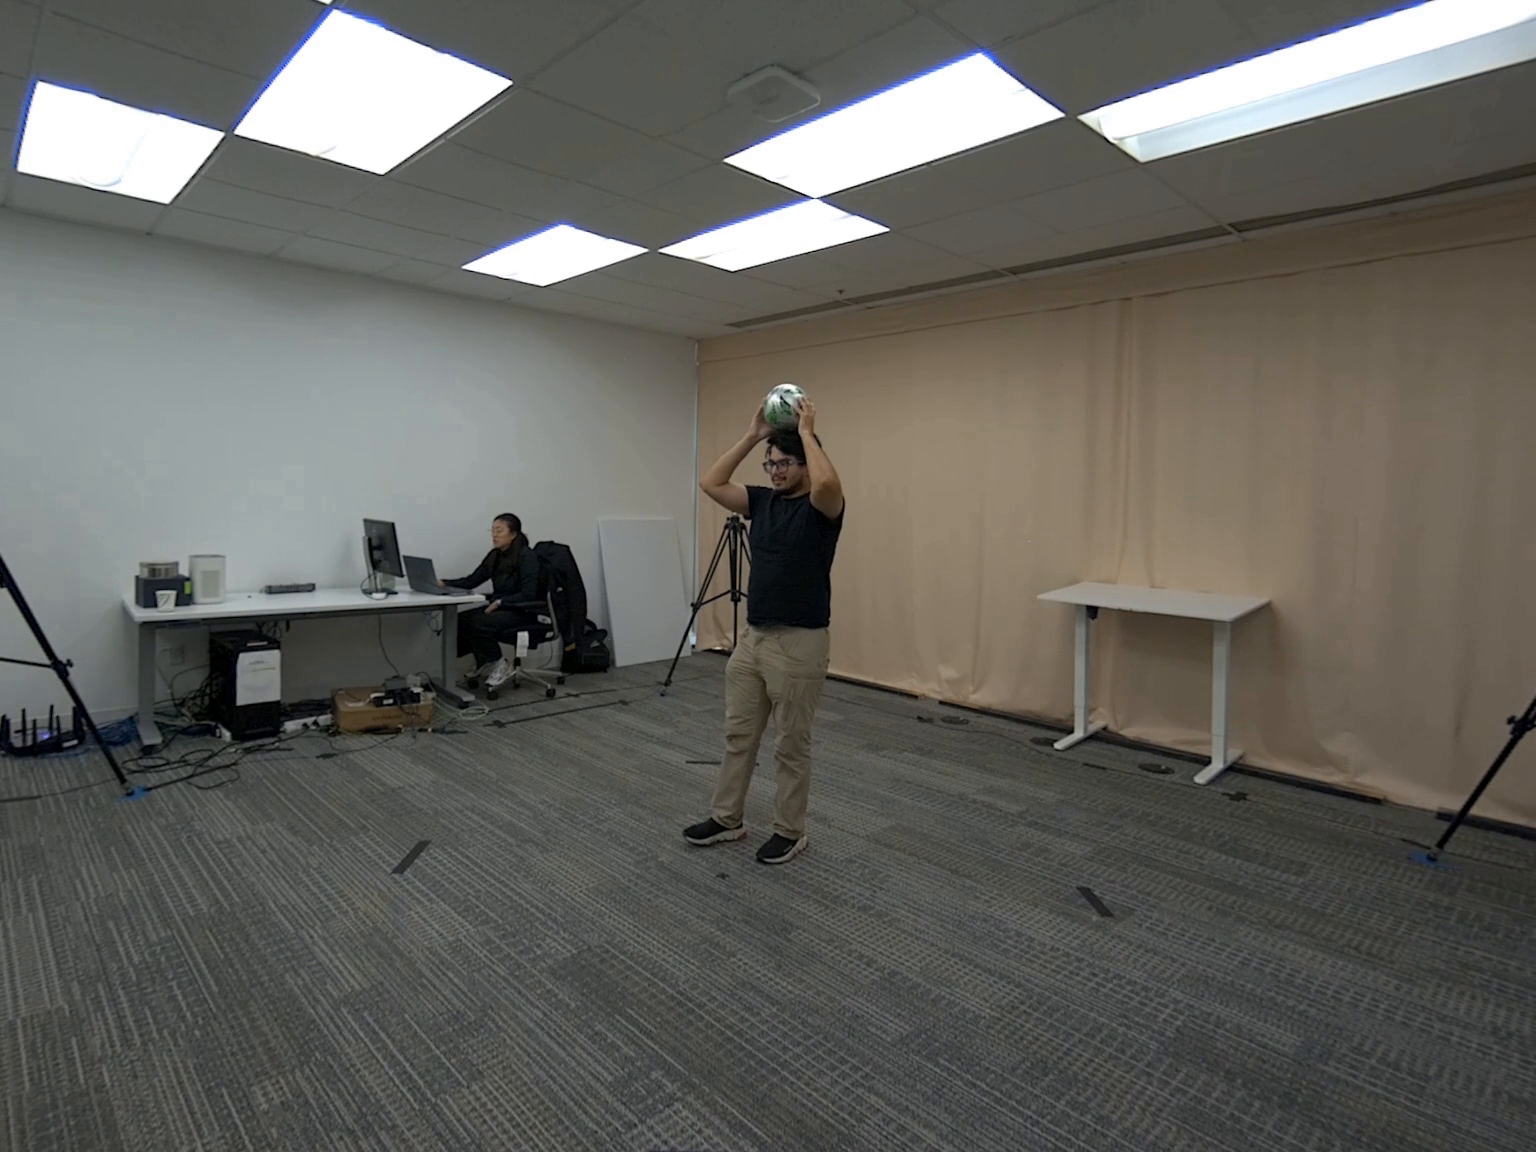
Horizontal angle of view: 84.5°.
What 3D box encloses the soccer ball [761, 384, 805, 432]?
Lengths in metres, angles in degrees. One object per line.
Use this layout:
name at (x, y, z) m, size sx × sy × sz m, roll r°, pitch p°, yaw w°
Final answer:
soccer ball at (0.068, -0.632, 3.205) m, size 0.187 × 0.187 × 0.188 m, roll 1°, pitch 4°, yaw -1°
